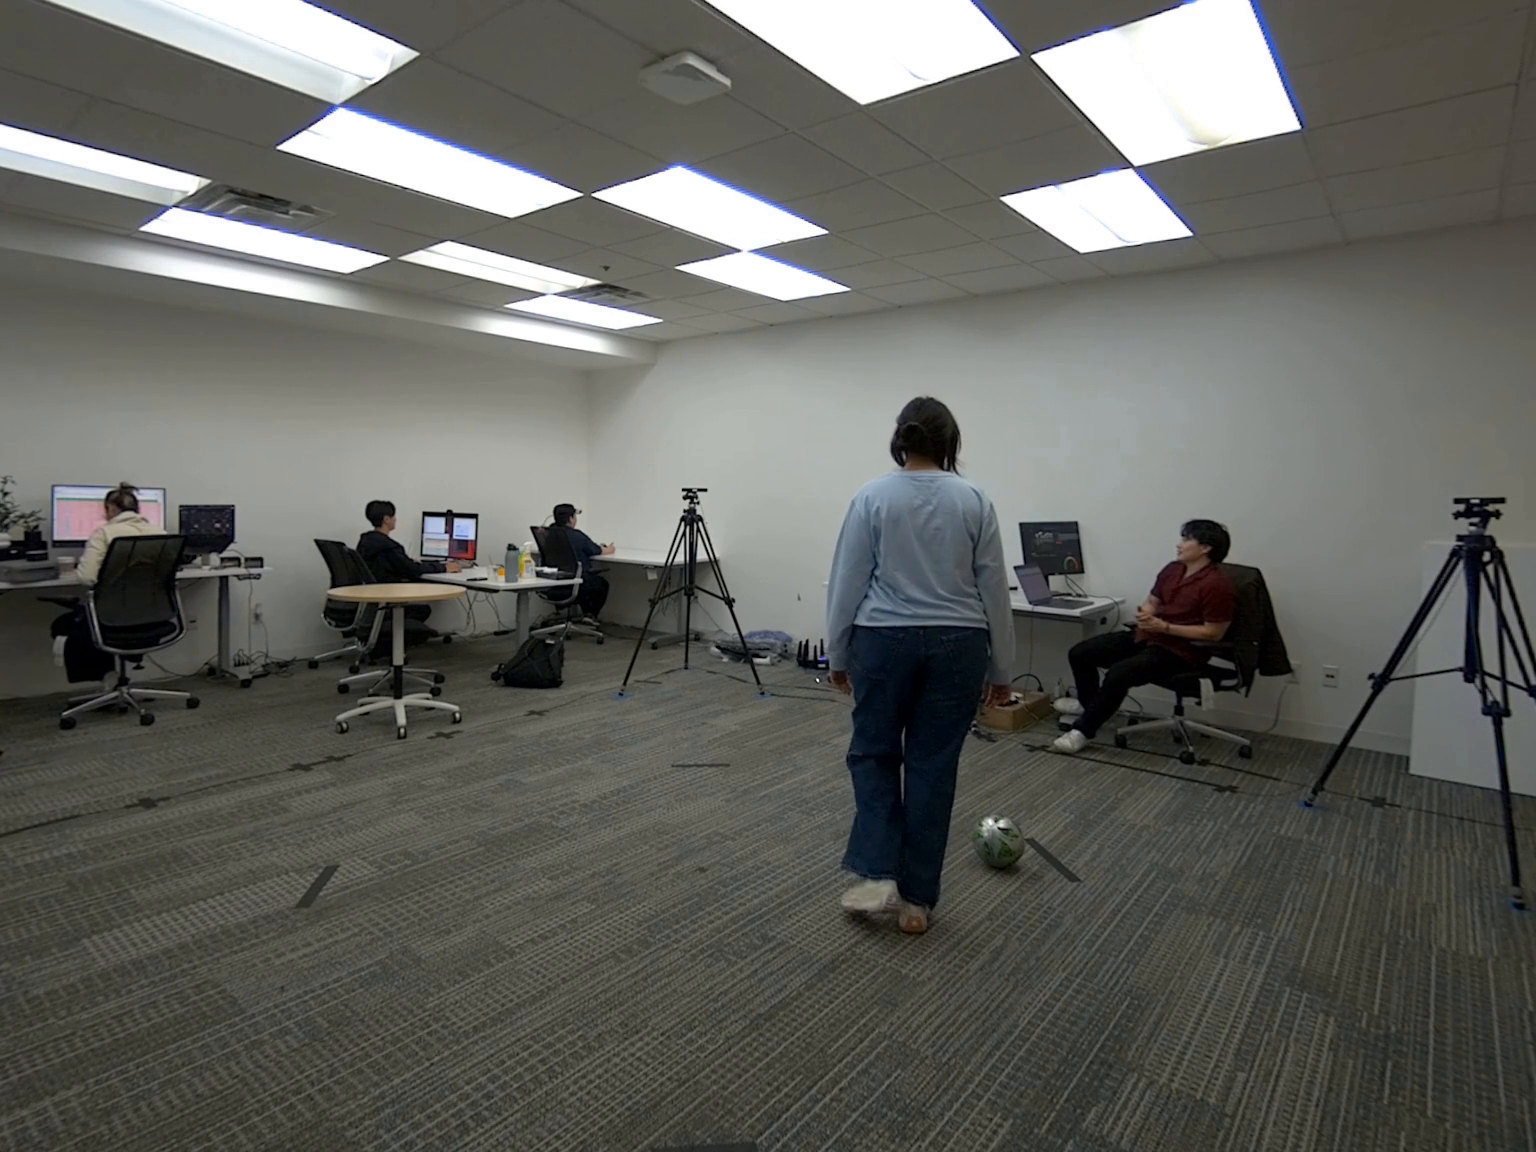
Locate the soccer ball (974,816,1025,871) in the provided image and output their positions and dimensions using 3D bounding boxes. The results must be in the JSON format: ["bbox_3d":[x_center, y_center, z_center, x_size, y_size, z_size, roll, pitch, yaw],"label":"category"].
[{"bbox_3d":[0.860,0.990,3.201,0.187,0.187,0.188,1,4,-2],"label":"soccer ball"}]
